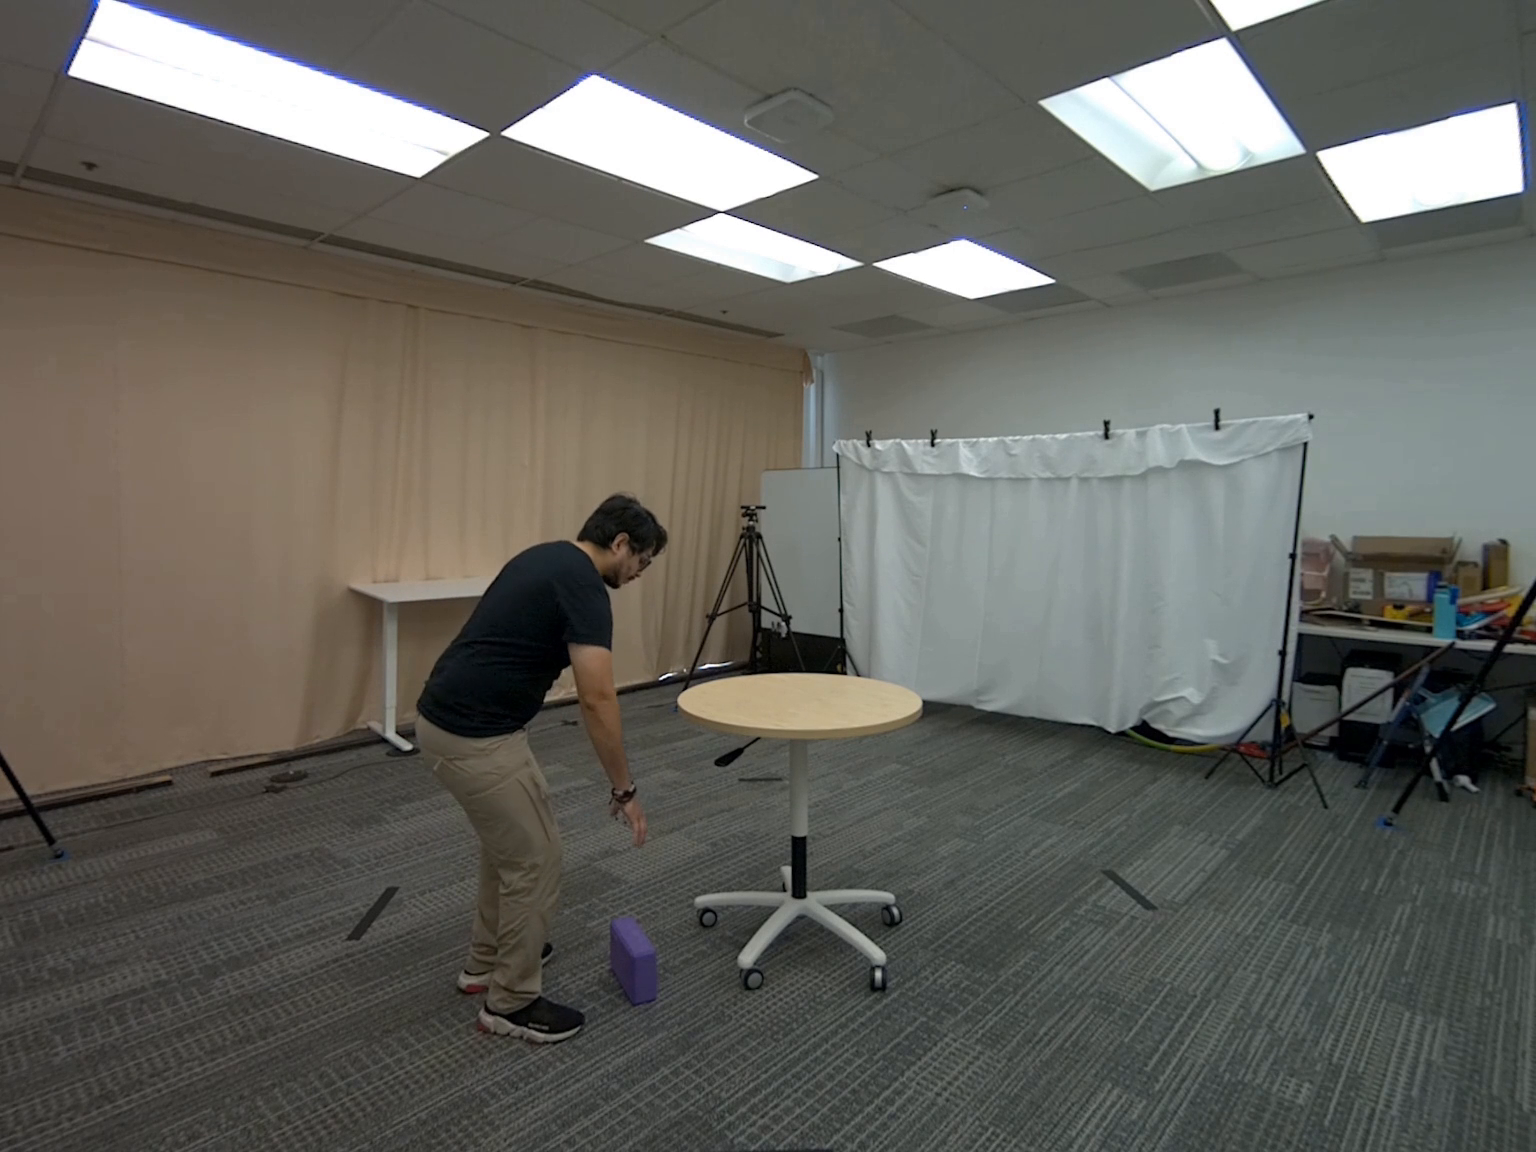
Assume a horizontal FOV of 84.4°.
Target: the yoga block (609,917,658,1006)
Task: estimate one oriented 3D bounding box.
[{"bbox_3d":[-0.395,1.118,2.445,0.074,0.149,0.235,1,4,-25],"label":"yoga block"}]
